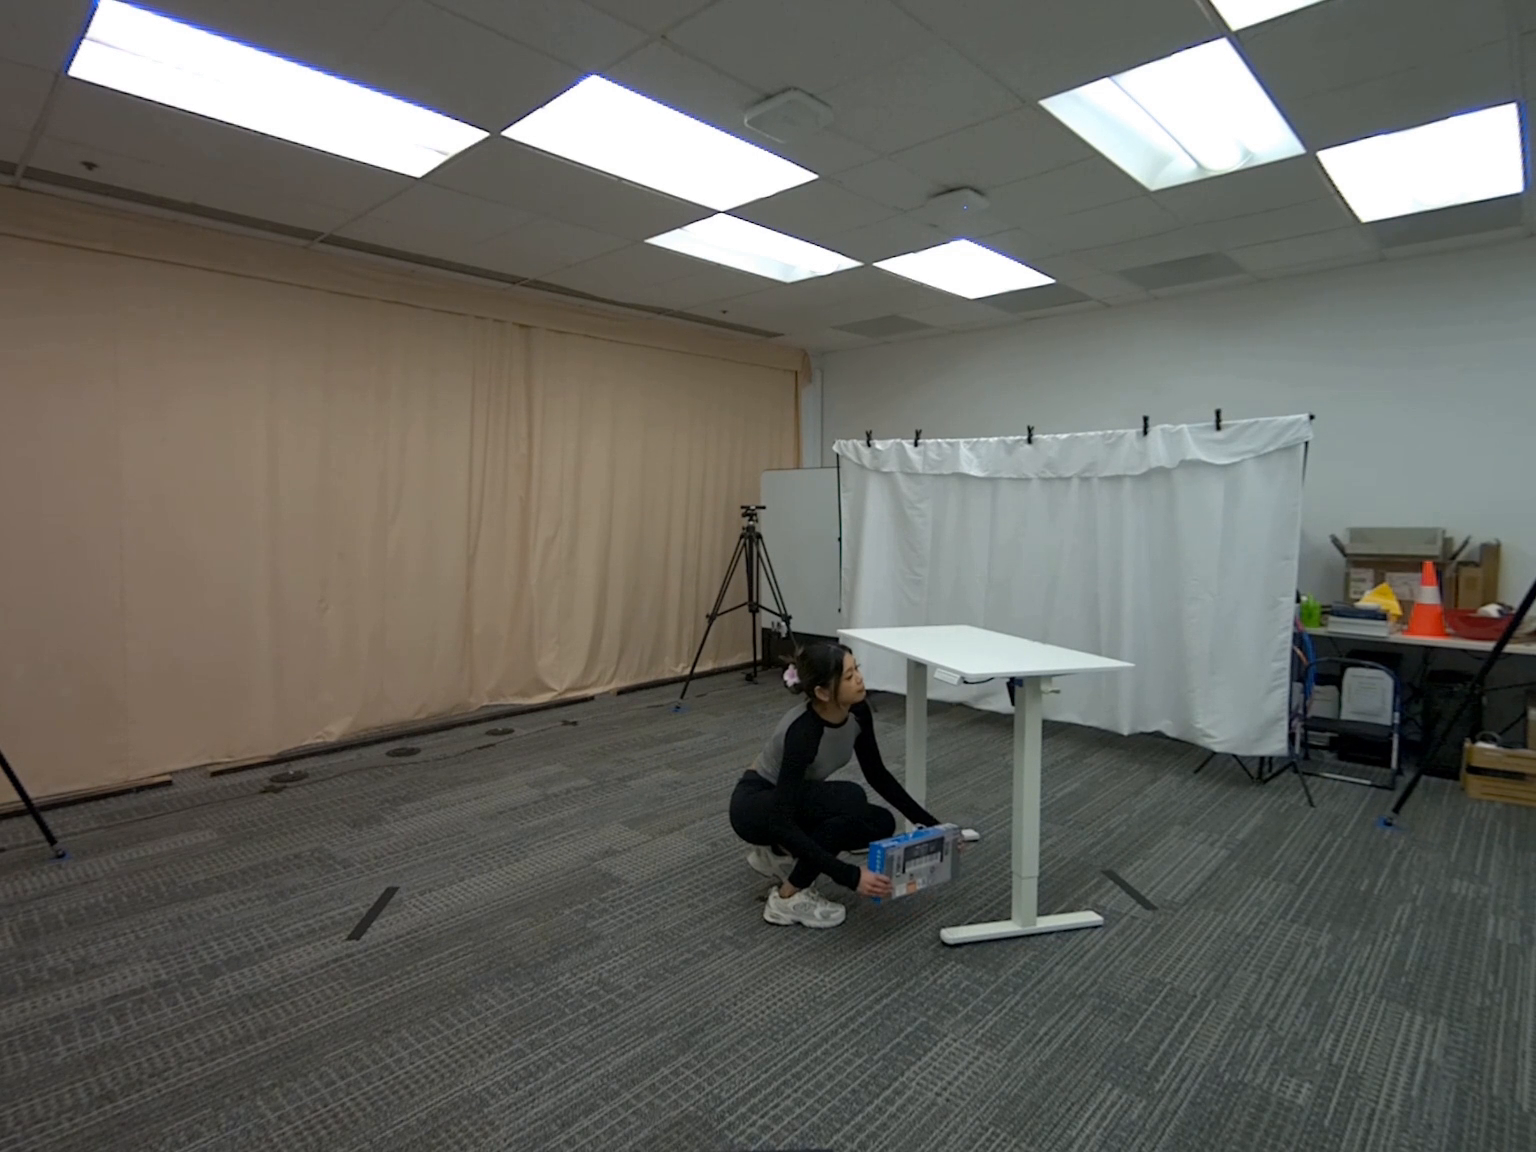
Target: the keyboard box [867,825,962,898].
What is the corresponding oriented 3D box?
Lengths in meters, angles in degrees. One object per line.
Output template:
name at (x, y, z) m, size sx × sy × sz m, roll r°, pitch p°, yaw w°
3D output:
keyboard box at (0.487, 0.937, 2.743) m, size 0.423 × 0.176 × 0.061 m, roll 3°, pitch 0°, yaw -41°
